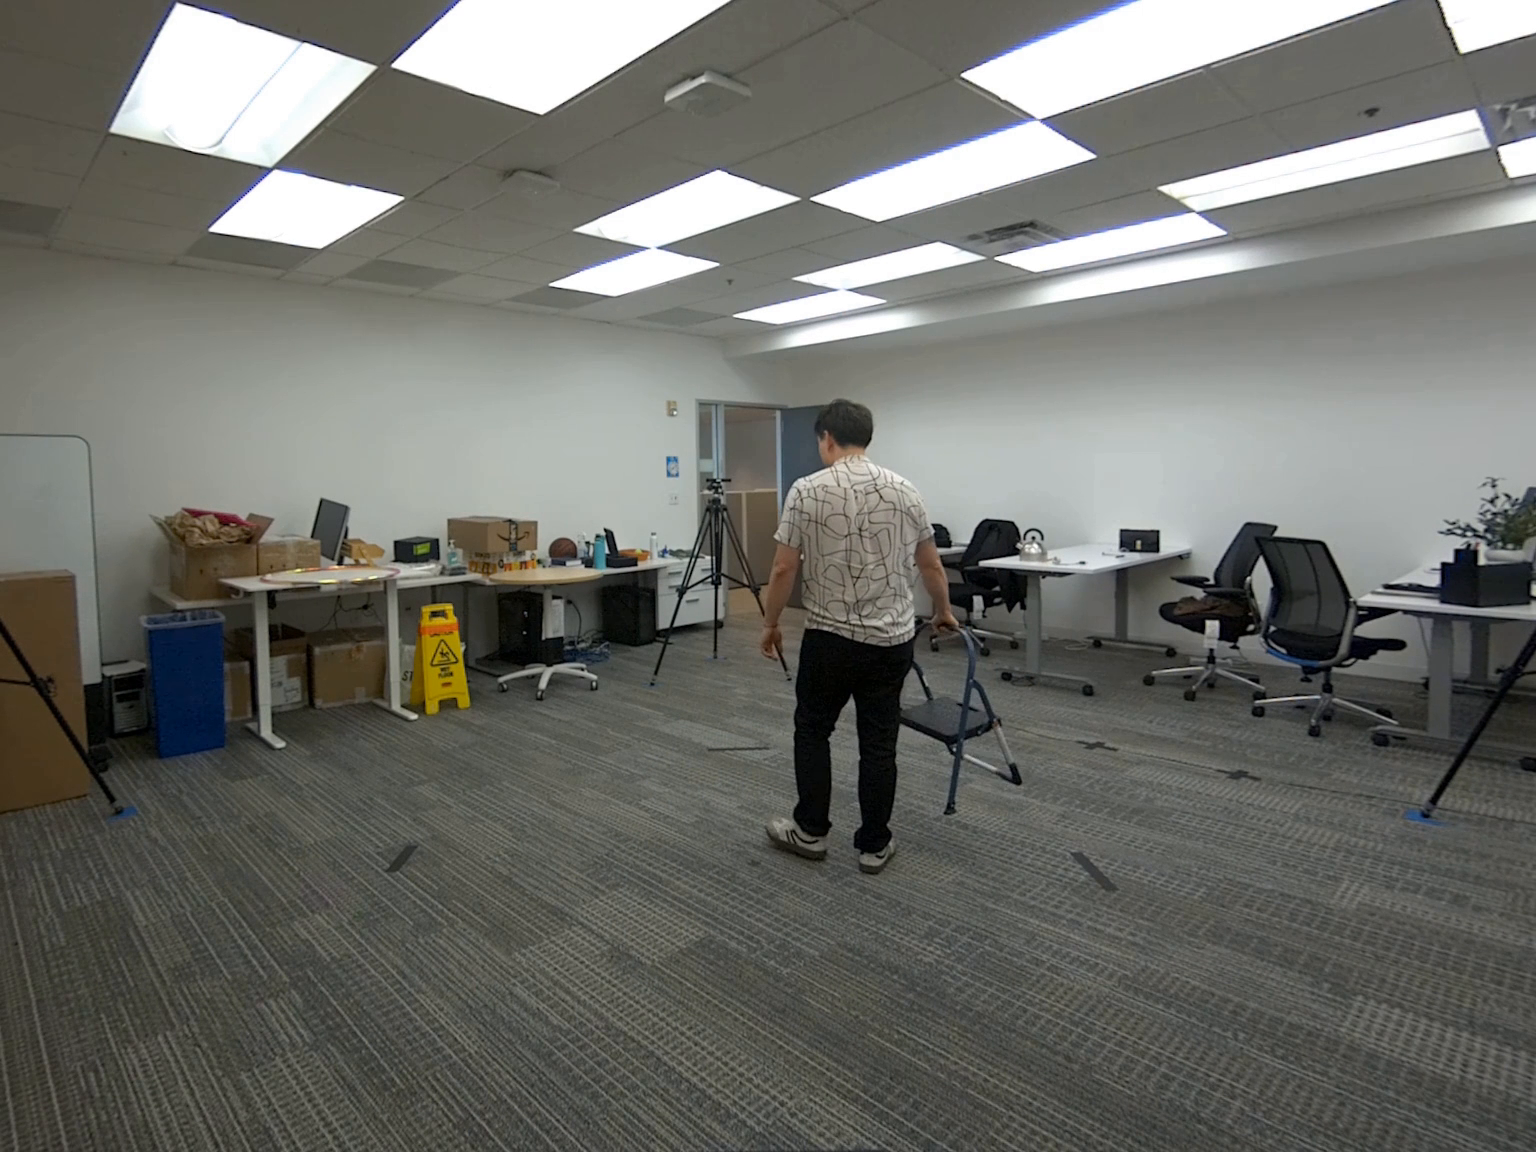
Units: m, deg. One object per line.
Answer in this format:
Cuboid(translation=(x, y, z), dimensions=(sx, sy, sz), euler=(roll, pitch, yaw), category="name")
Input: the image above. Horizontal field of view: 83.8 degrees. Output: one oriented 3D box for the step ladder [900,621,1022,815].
Cuboid(translation=(0.650, 0.496, 3.239), dimensions=(0.344, 0.601, 0.441), euler=(-13, 8, -23), category="step ladder")
